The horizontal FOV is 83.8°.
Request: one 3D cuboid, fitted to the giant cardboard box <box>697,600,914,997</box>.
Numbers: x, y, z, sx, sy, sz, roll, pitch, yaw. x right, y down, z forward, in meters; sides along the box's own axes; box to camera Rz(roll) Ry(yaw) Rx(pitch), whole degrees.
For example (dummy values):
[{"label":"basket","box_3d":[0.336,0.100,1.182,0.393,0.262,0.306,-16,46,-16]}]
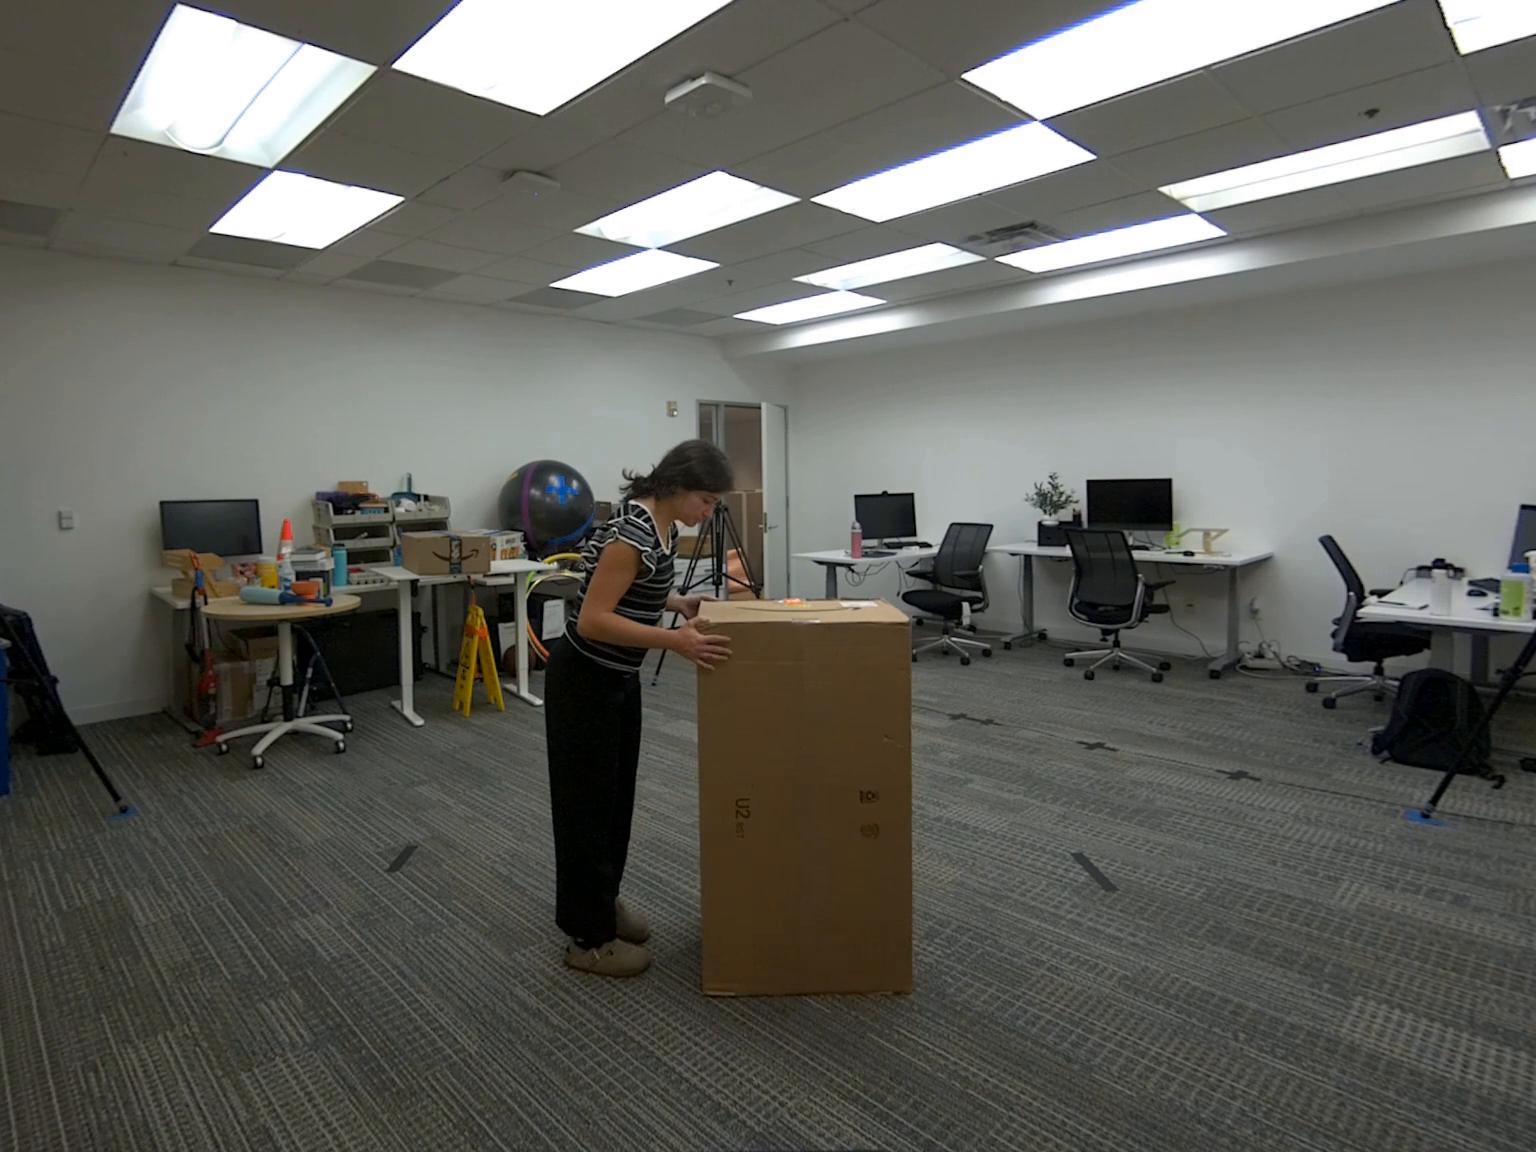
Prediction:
[{"label":"giant cardboard box","box_3d":[0.093,0.604,2.492,0.578,1.022,0.427,-1,4,0]}]
